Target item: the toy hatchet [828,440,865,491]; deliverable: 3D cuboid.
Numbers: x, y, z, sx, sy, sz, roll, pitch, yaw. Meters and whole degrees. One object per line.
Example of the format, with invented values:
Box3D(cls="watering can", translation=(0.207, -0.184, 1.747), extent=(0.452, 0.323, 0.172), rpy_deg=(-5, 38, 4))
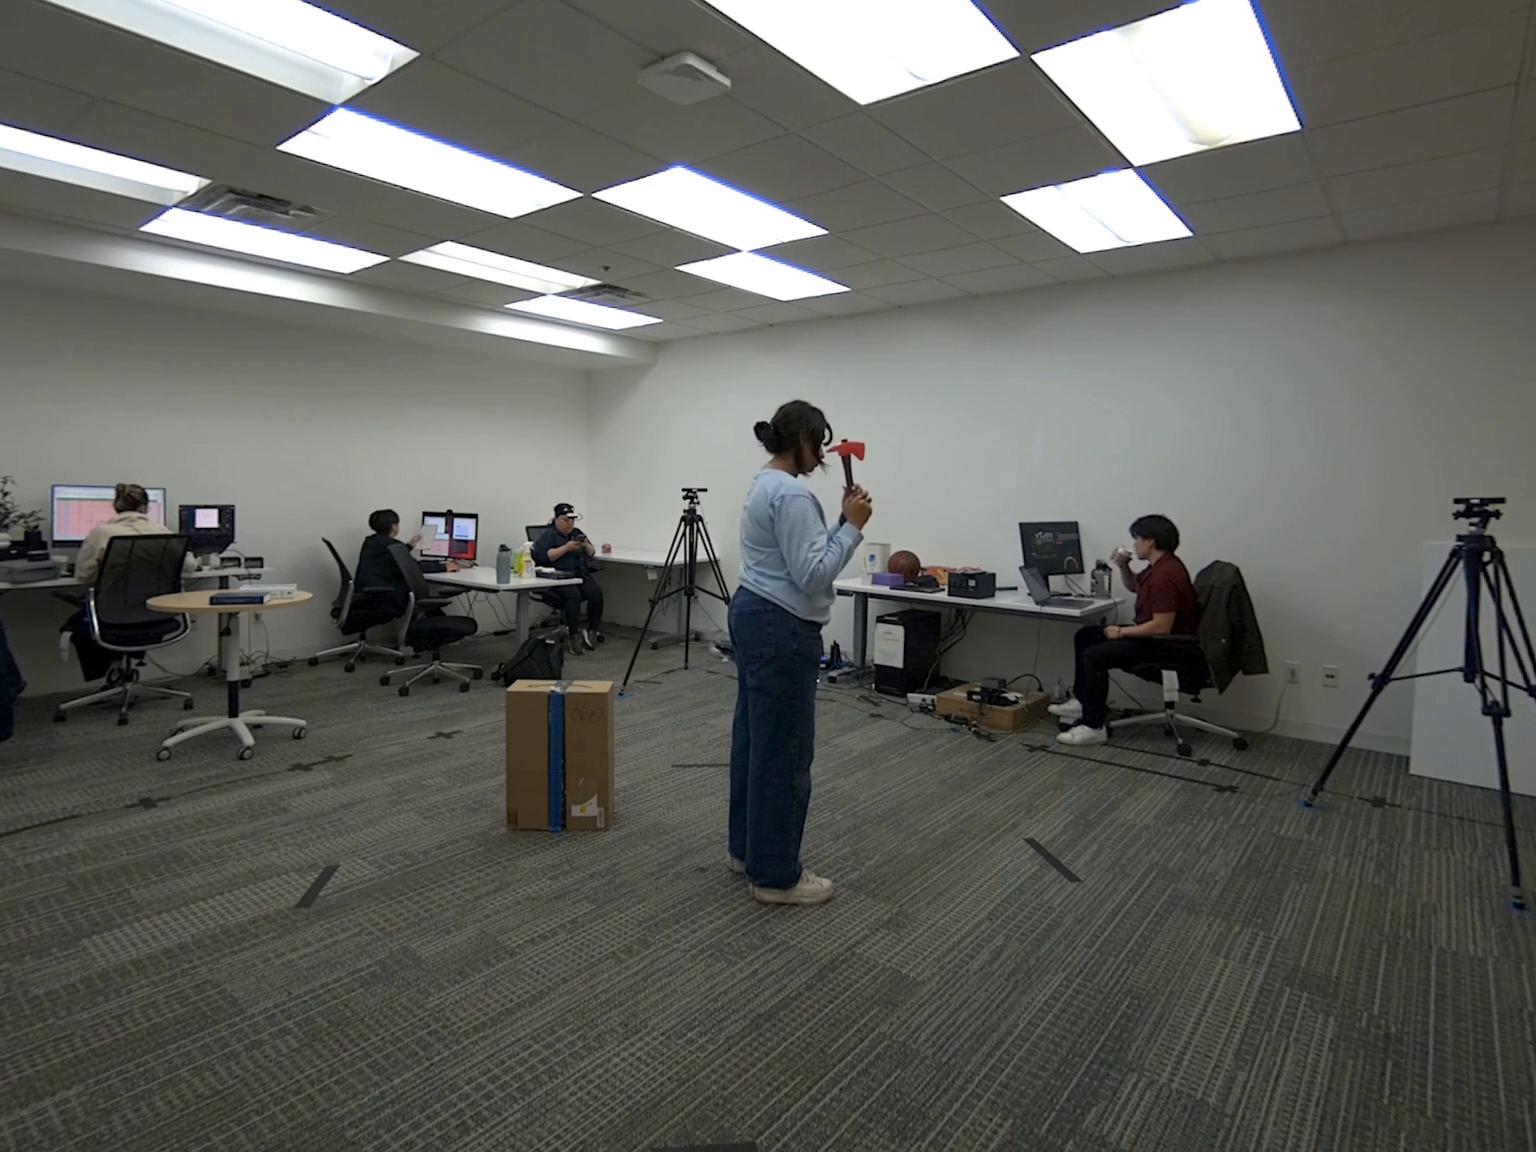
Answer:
Box3D(cls="toy hatchet", translation=(0.297, -0.334, 2.818), extent=(0.130, 0.267, 0.030), rpy_deg=(-29, 7, -6))
